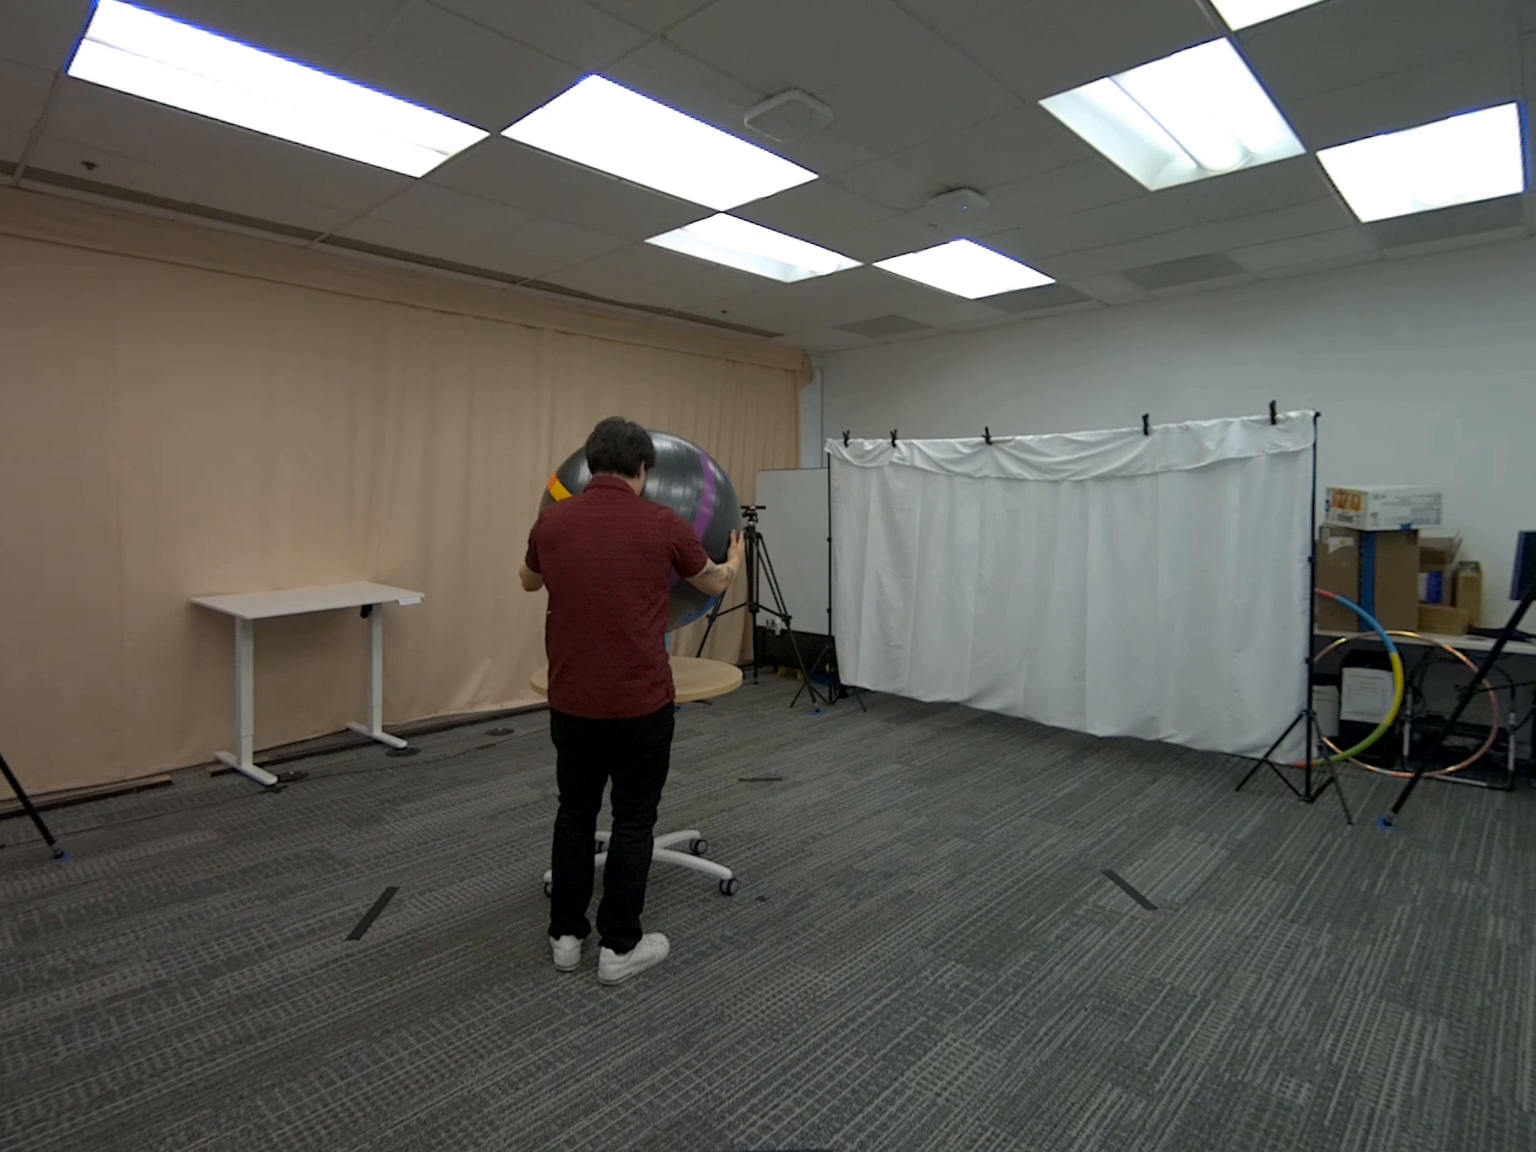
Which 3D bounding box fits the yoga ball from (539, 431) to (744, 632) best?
[{"bbox_3d":[-0.472,-0.158,3.110,0.757,0.756,0.761,0,4,-2],"label":"yoga ball"}]
